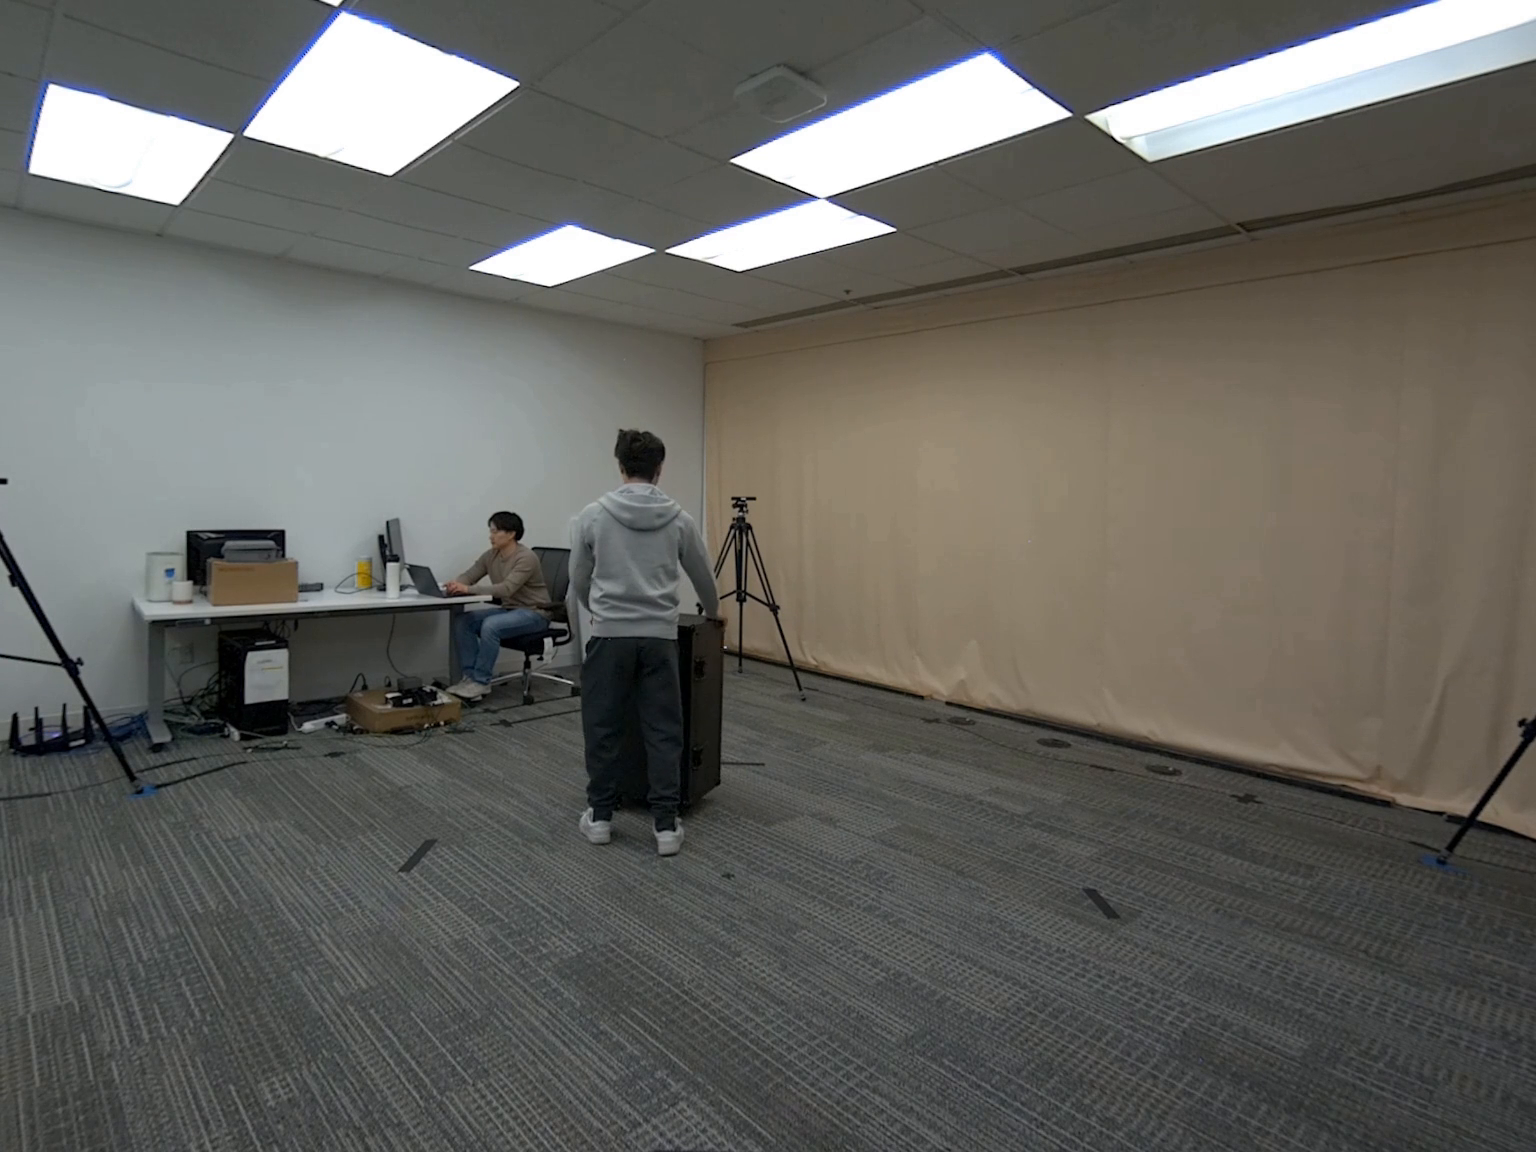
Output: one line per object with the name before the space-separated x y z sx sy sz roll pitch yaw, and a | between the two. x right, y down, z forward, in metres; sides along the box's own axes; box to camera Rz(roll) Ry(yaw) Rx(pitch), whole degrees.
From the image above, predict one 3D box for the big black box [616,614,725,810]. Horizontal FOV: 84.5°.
big black box | -0.499 0.608 3.832 0.530 0.860 0.390 3 3 22
